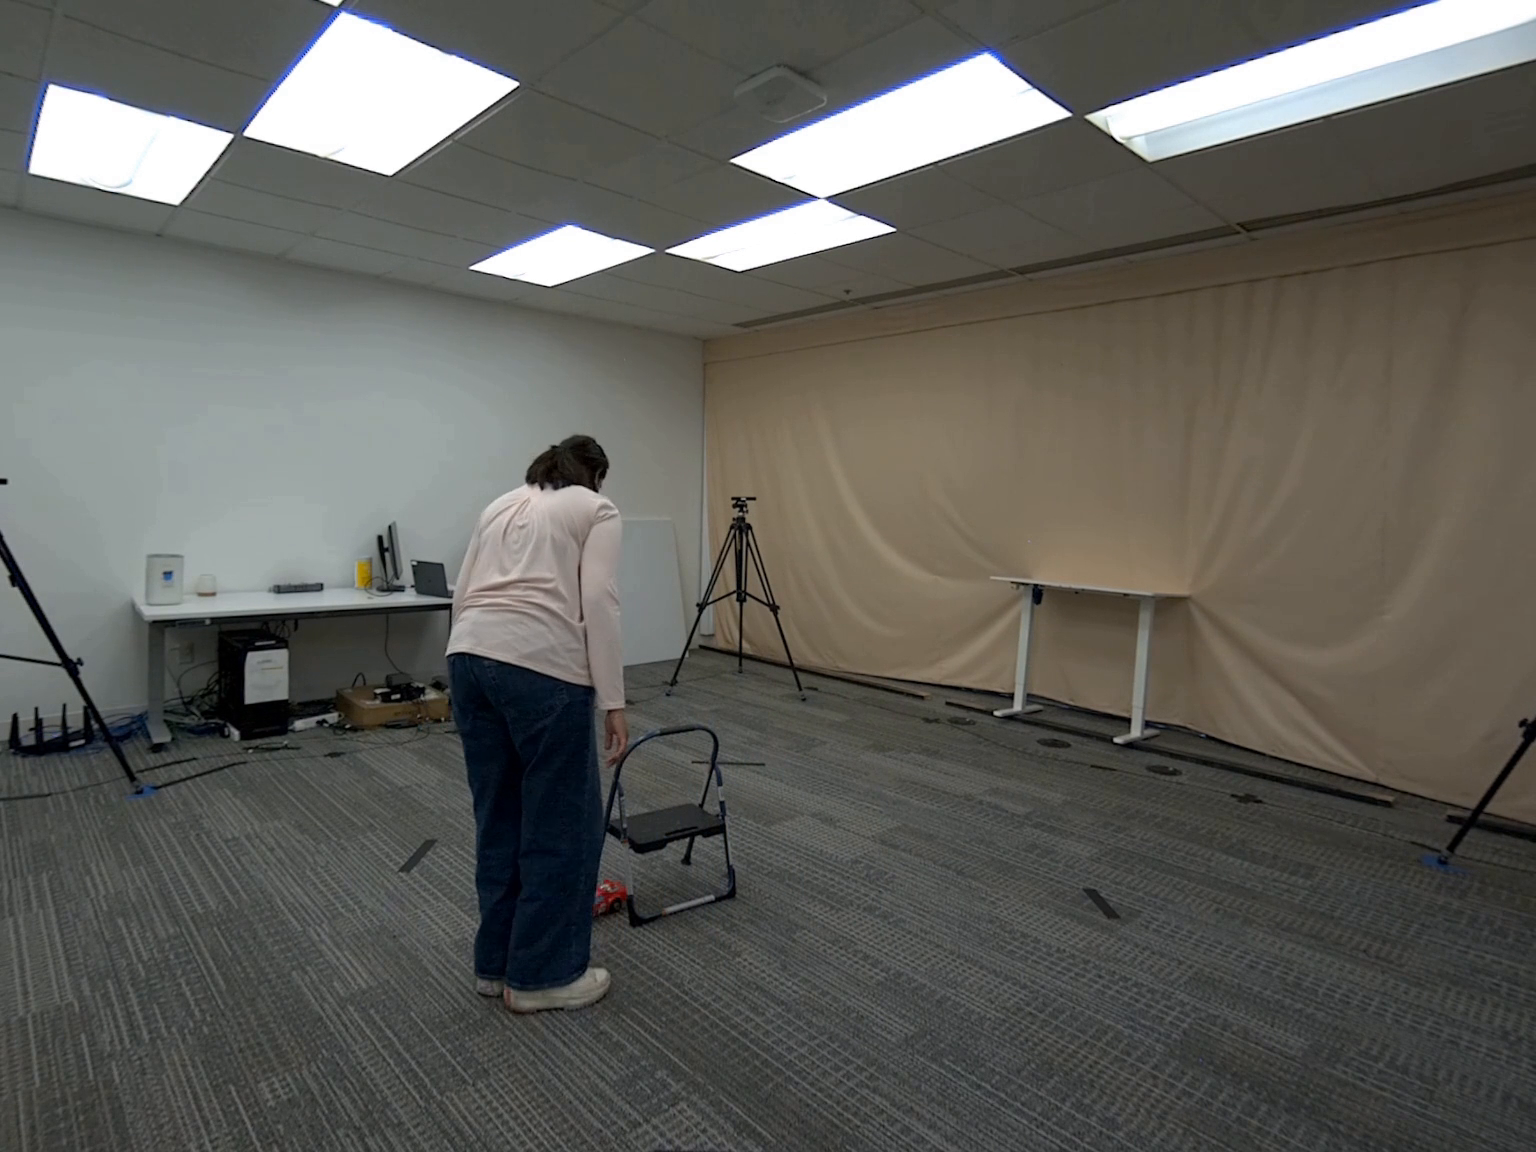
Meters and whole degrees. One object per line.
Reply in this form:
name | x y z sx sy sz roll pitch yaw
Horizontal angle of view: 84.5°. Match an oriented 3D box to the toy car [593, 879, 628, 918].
toy car | -0.588 1.093 2.806 0.250 0.082 0.134 -19 18 -41
